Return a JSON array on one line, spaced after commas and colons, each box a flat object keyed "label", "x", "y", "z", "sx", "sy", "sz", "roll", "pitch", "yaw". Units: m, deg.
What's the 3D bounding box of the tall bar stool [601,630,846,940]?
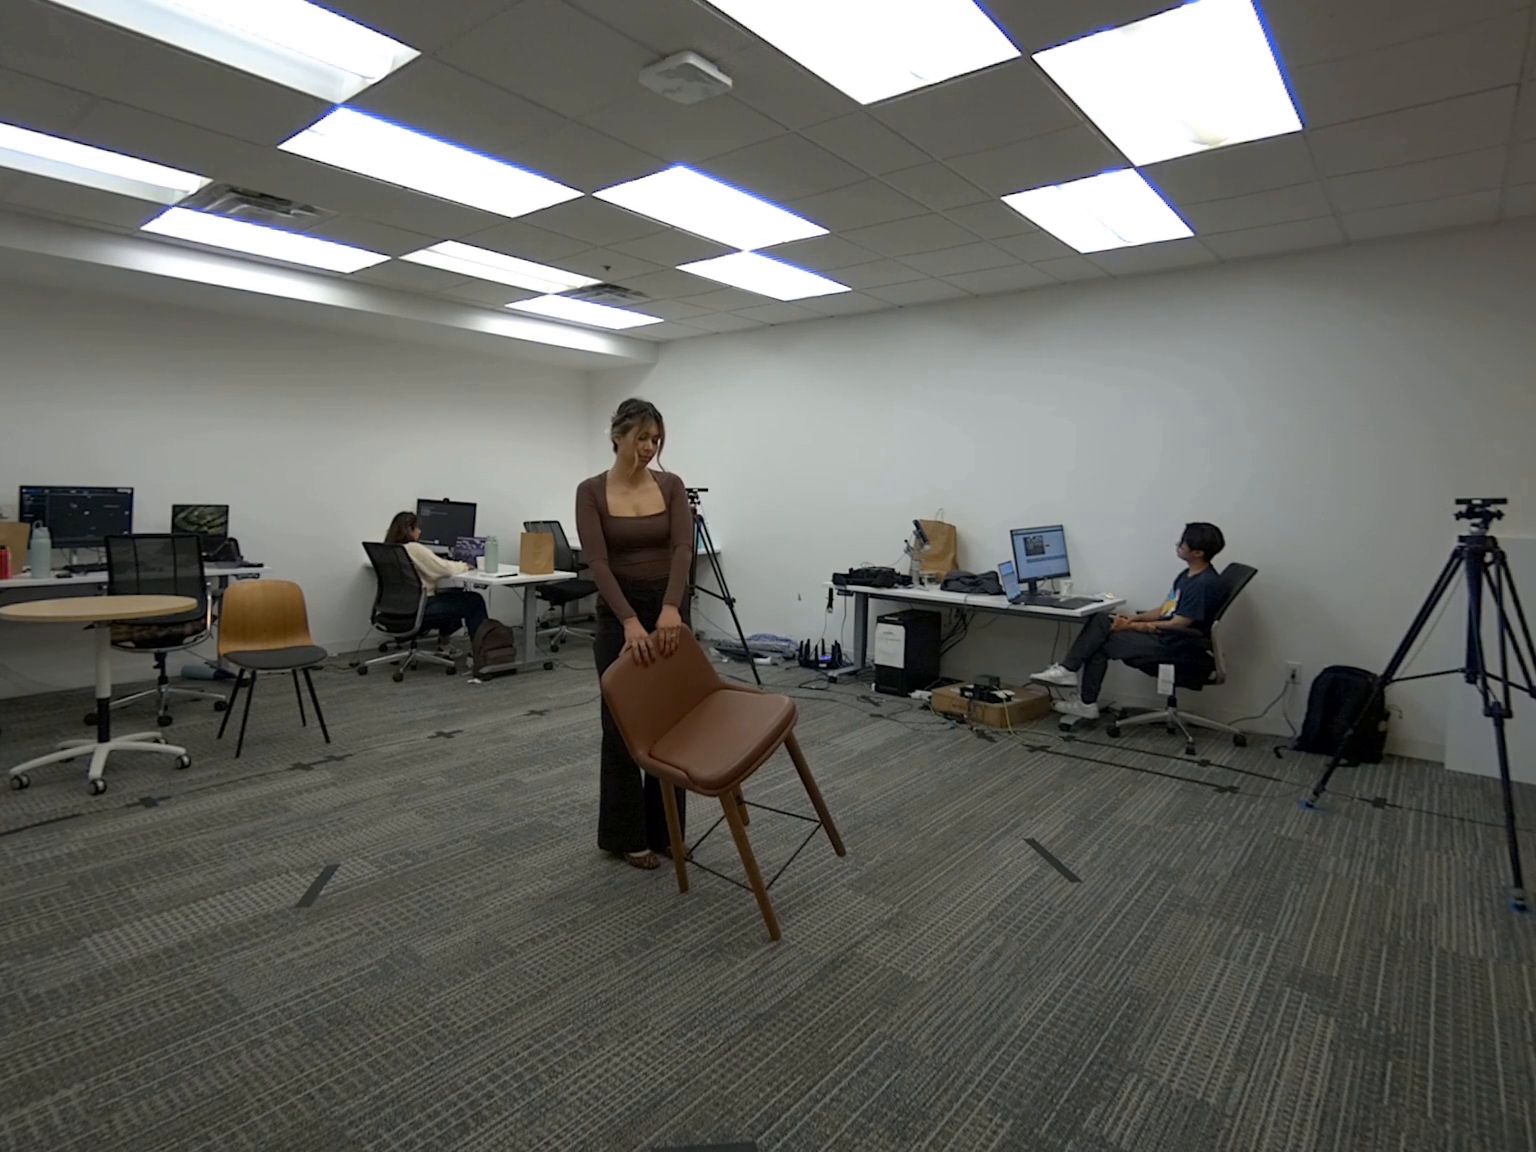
[{"label": "tall bar stool", "x": -0.147, "y": 0.629, "z": 2.765, "sx": 0.482, "sy": 0.871, "sz": 0.452, "roll": 0, "pitch": 25, "yaw": 43}]
